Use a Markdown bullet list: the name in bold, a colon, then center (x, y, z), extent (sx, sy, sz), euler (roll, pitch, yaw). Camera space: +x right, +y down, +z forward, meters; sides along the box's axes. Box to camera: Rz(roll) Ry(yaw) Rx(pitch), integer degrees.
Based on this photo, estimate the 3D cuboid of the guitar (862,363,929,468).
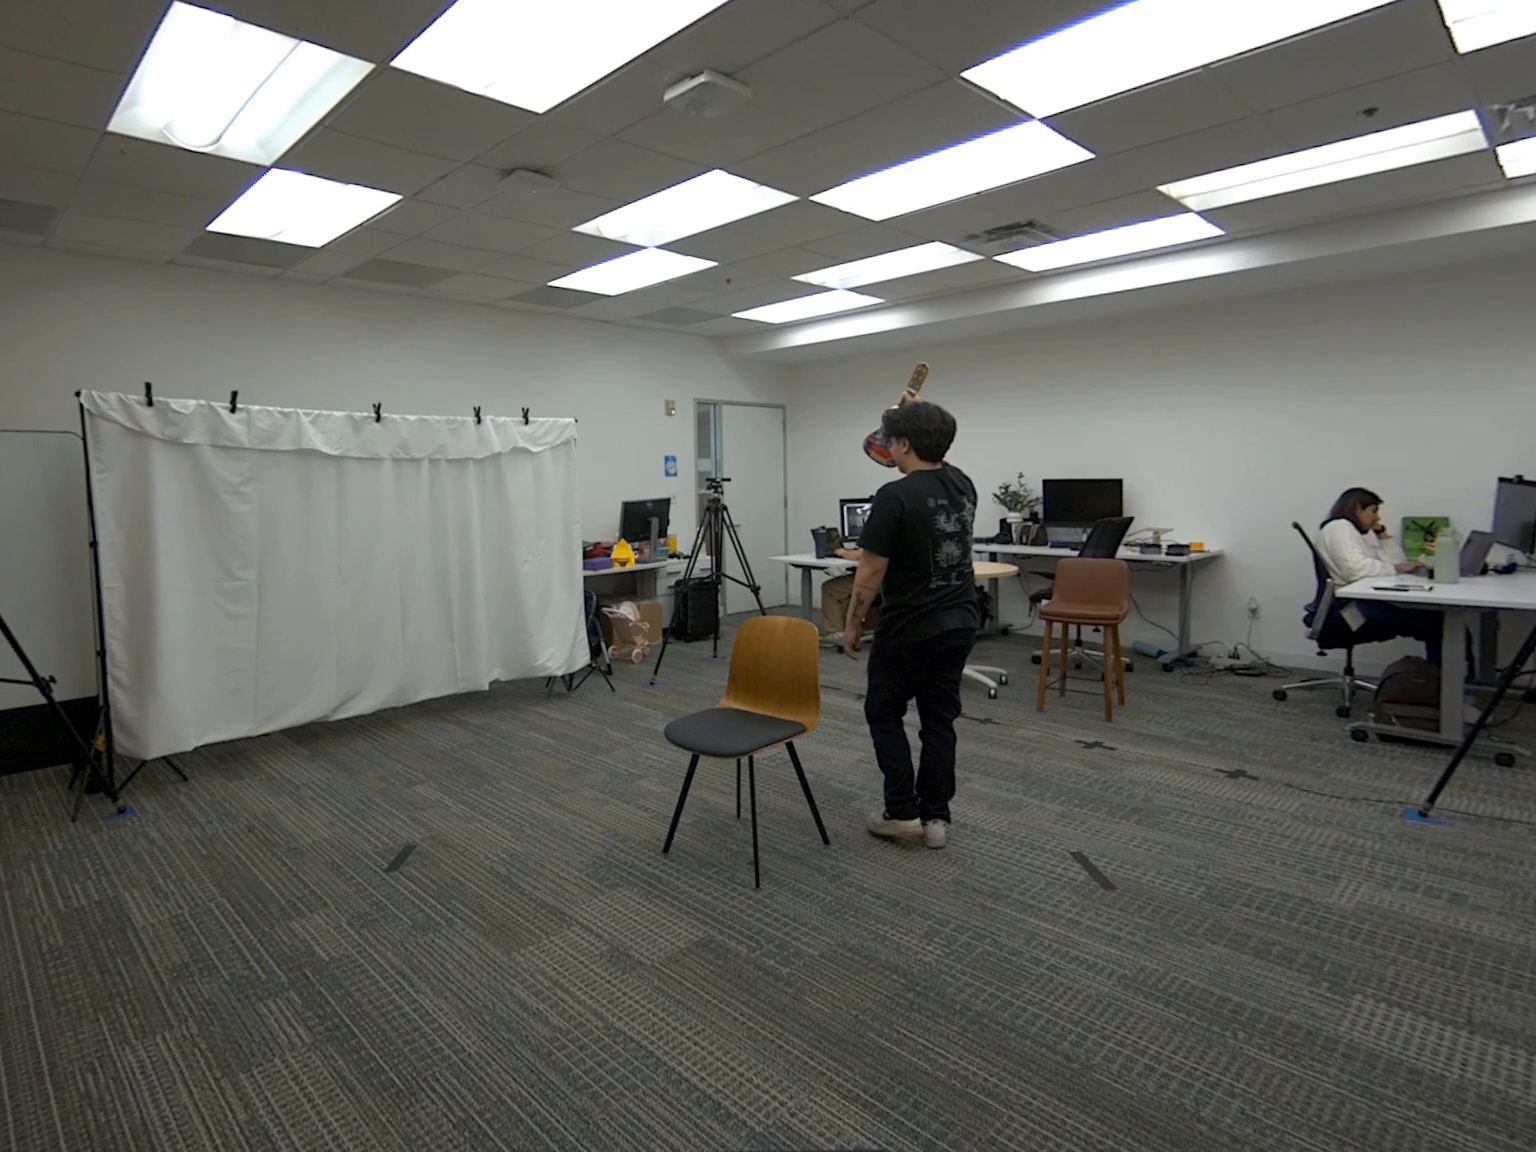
- **guitar**: center (0.599, -0.691, 3.741), extent (0.196, 0.494, 0.070), euler (42, 36, 12)
